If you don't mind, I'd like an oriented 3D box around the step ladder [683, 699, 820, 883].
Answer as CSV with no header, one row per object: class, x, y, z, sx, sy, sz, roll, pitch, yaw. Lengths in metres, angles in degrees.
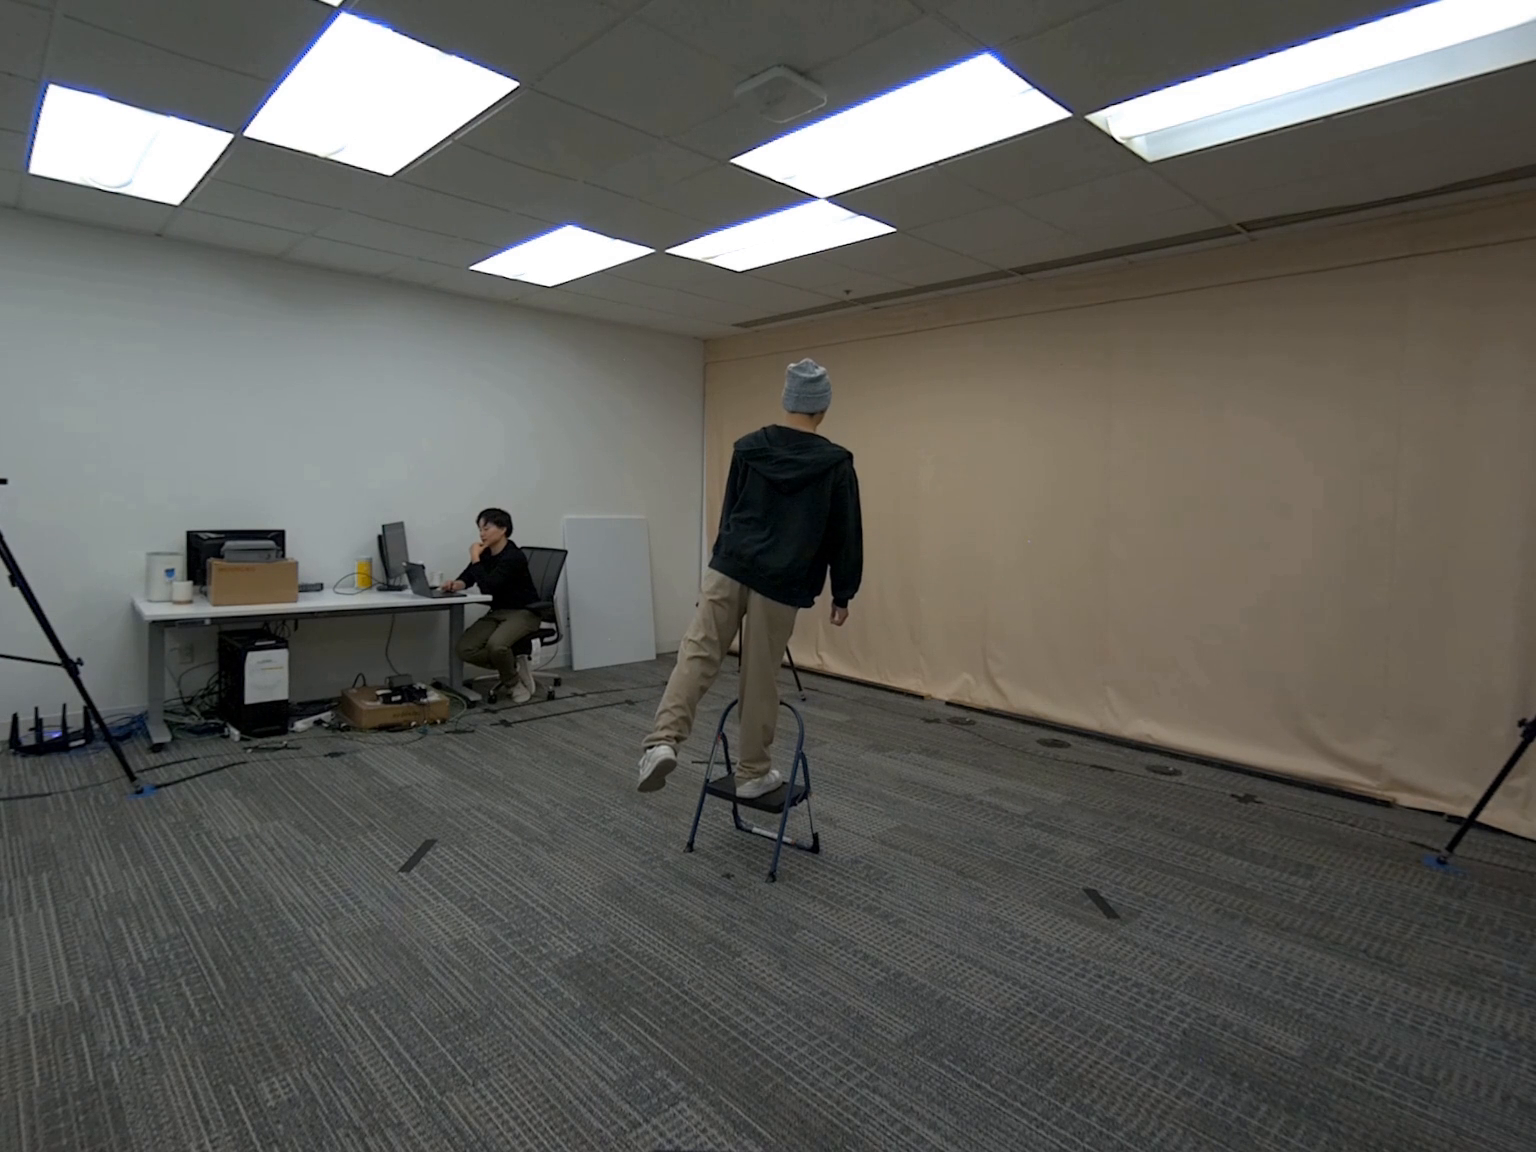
step ladder,-0.056,0.790,3.307,0.441,0.605,0.341,4,4,36
